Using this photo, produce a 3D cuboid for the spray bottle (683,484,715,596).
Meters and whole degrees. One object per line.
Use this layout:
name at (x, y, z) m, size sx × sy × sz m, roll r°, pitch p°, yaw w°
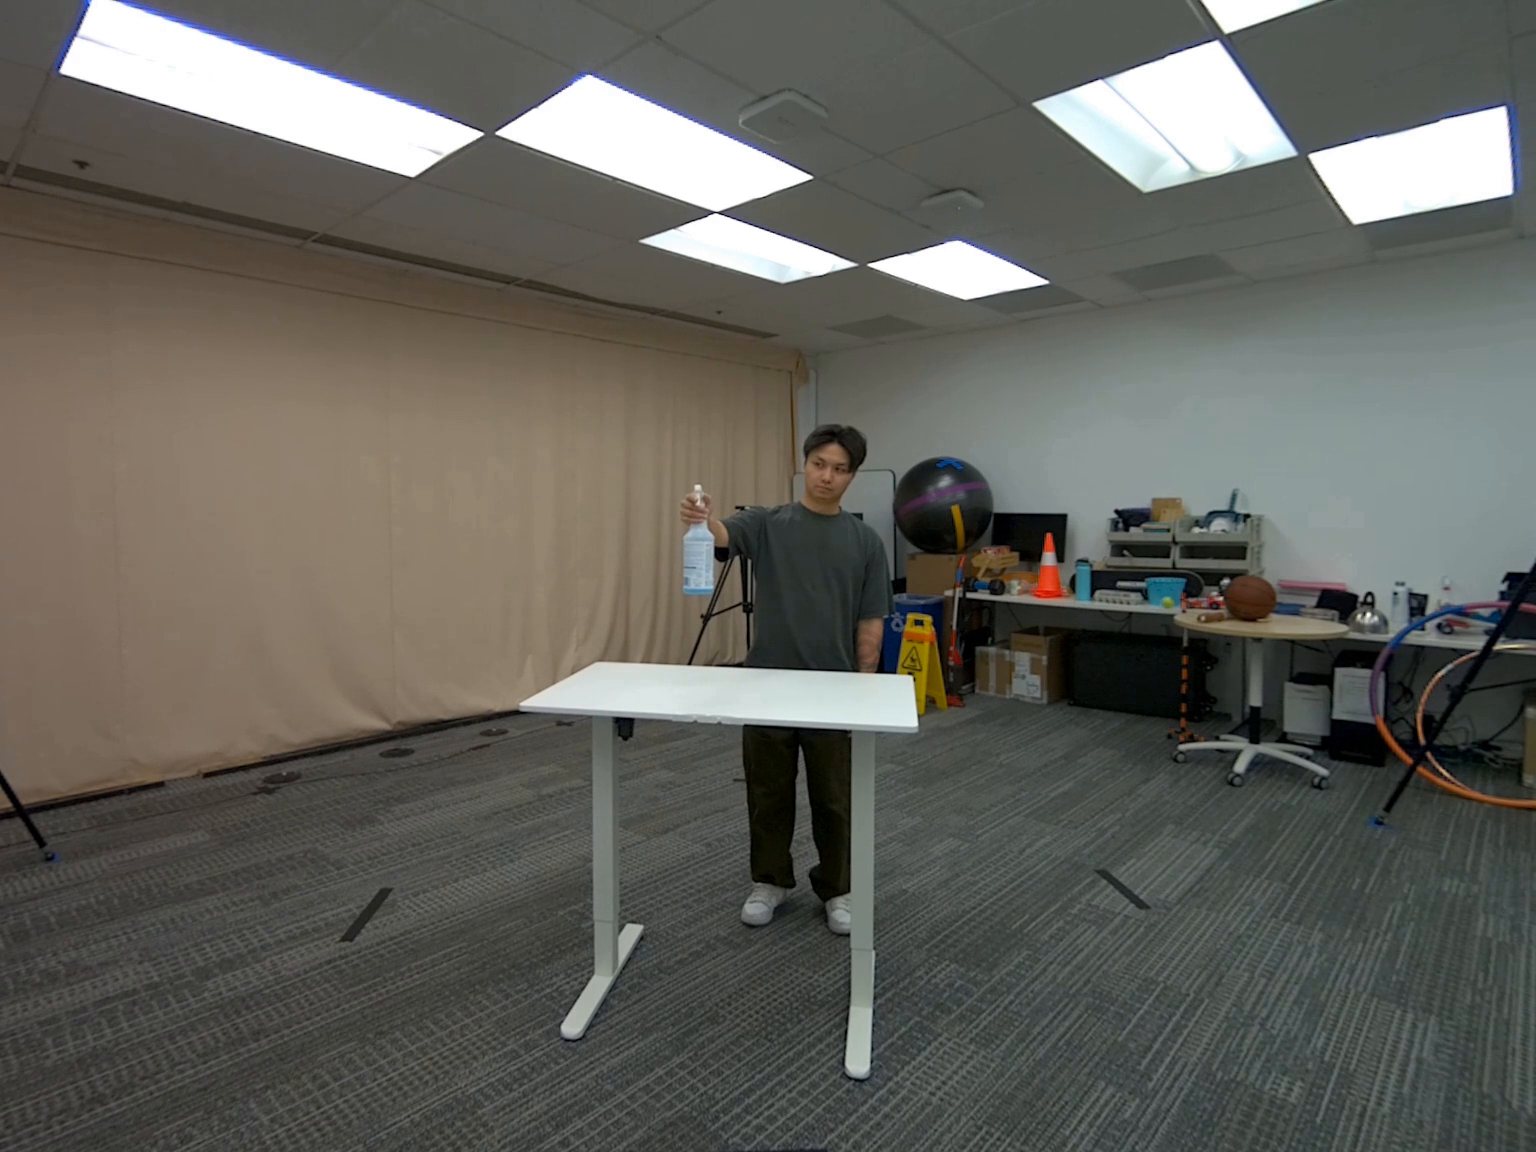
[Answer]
spray bottle at (-0.194, -0.098, 2.321) m, size 0.089 × 0.297 × 0.087 m, roll 0°, pitch -1°, yaw 27°
